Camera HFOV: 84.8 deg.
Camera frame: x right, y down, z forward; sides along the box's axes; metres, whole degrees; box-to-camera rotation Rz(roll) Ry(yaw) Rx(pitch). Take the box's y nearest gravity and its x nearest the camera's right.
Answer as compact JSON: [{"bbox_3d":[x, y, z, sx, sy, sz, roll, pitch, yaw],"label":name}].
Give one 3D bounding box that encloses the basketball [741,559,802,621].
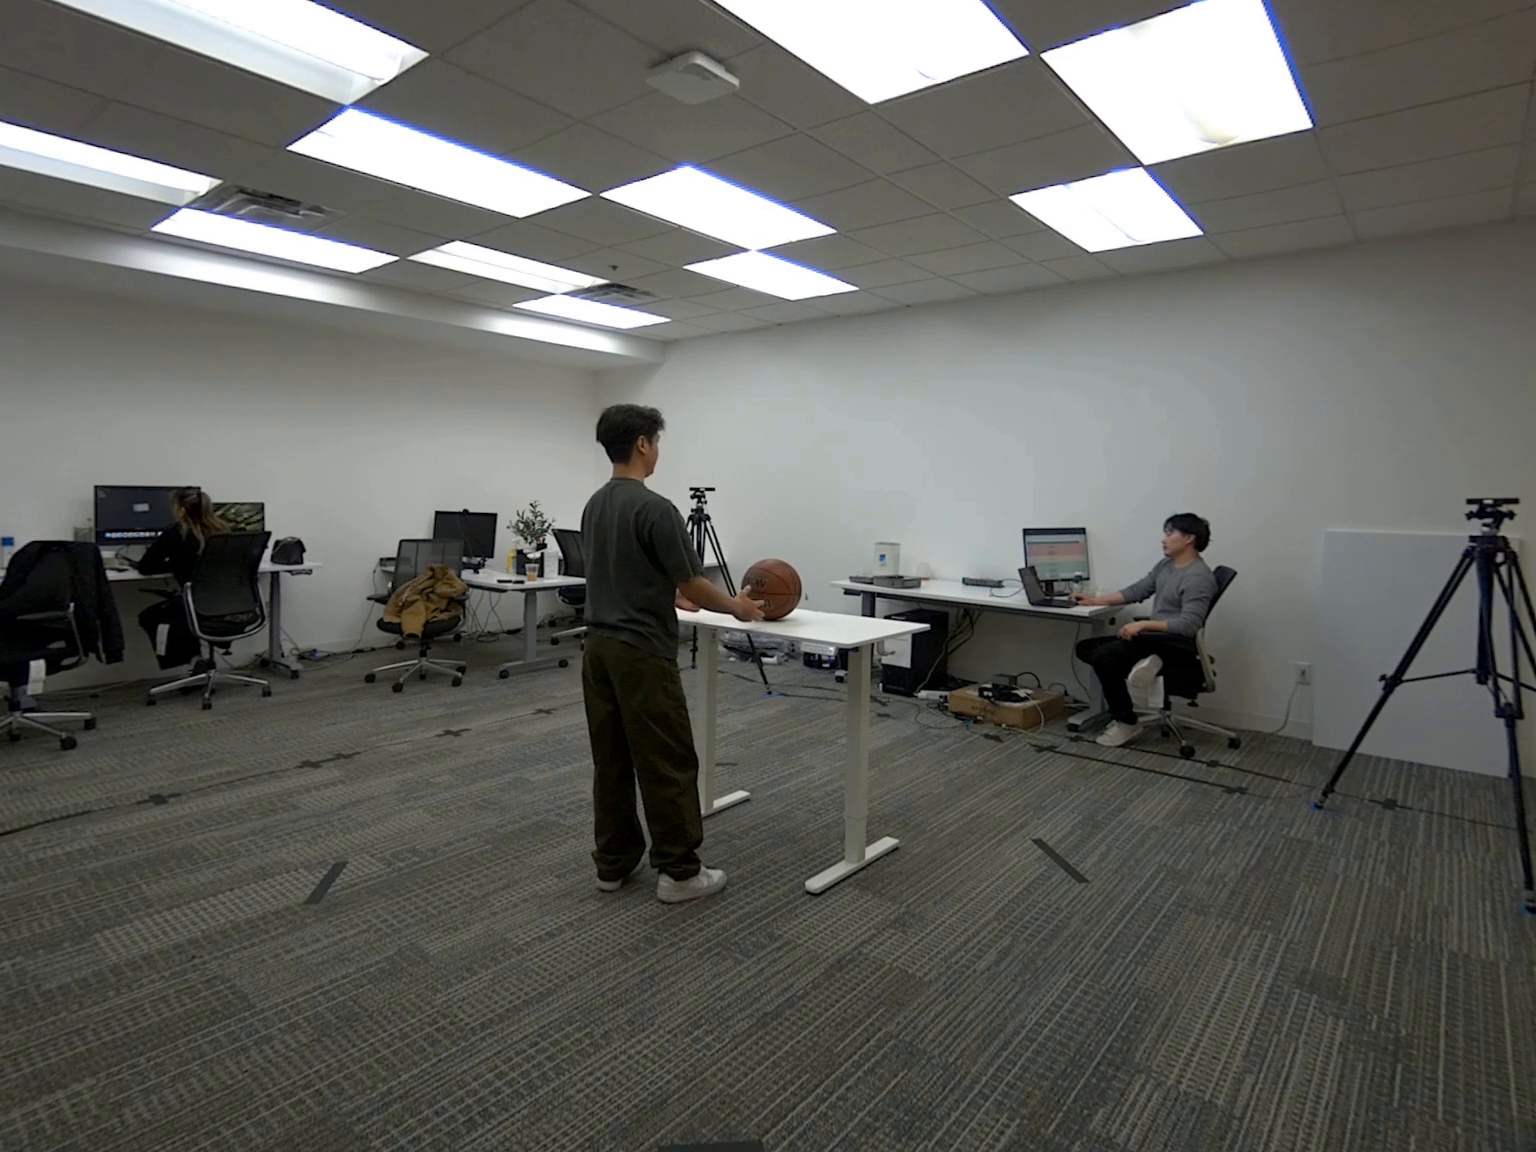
[{"bbox_3d":[0.000,0.049,3.326,0.235,0.235,0.237,1,4,-2],"label":"basketball"}]
